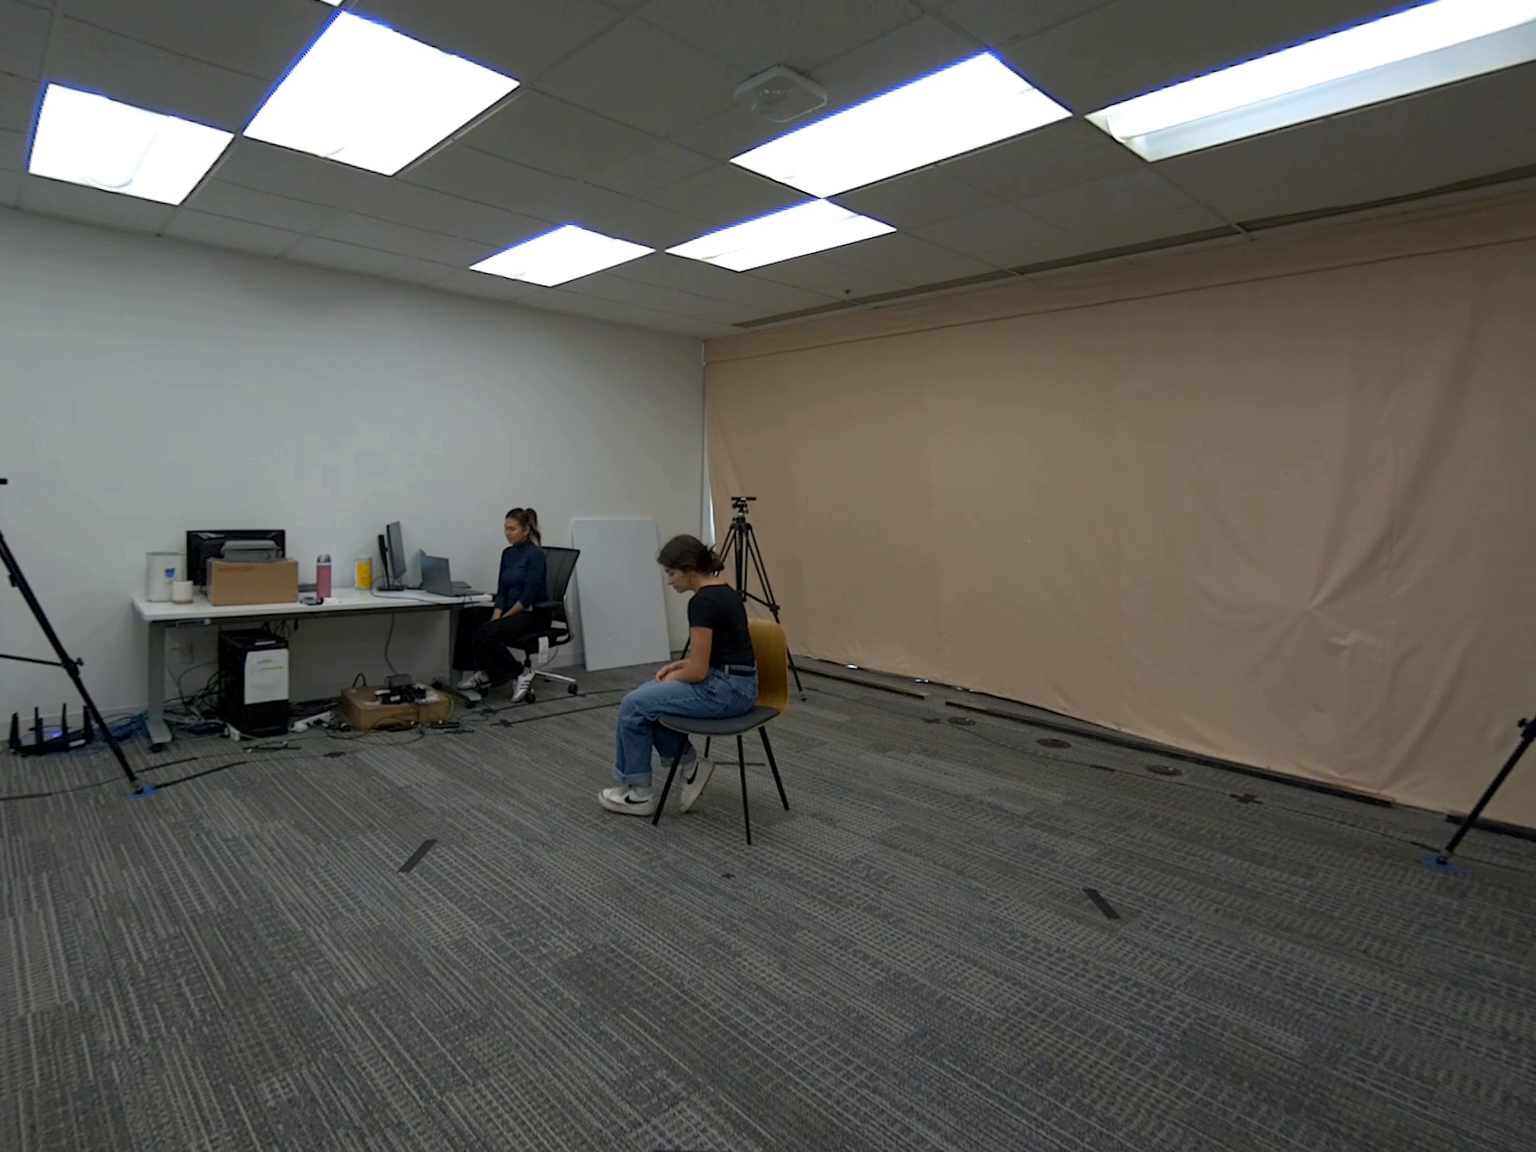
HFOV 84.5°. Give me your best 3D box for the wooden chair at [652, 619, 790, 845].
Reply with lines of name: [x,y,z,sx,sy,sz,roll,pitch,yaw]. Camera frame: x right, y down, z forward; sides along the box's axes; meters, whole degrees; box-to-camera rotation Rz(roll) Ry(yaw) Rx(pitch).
wooden chair: [-0.191,0.637,3.649,0.487,0.878,0.513,1,-1,23]
